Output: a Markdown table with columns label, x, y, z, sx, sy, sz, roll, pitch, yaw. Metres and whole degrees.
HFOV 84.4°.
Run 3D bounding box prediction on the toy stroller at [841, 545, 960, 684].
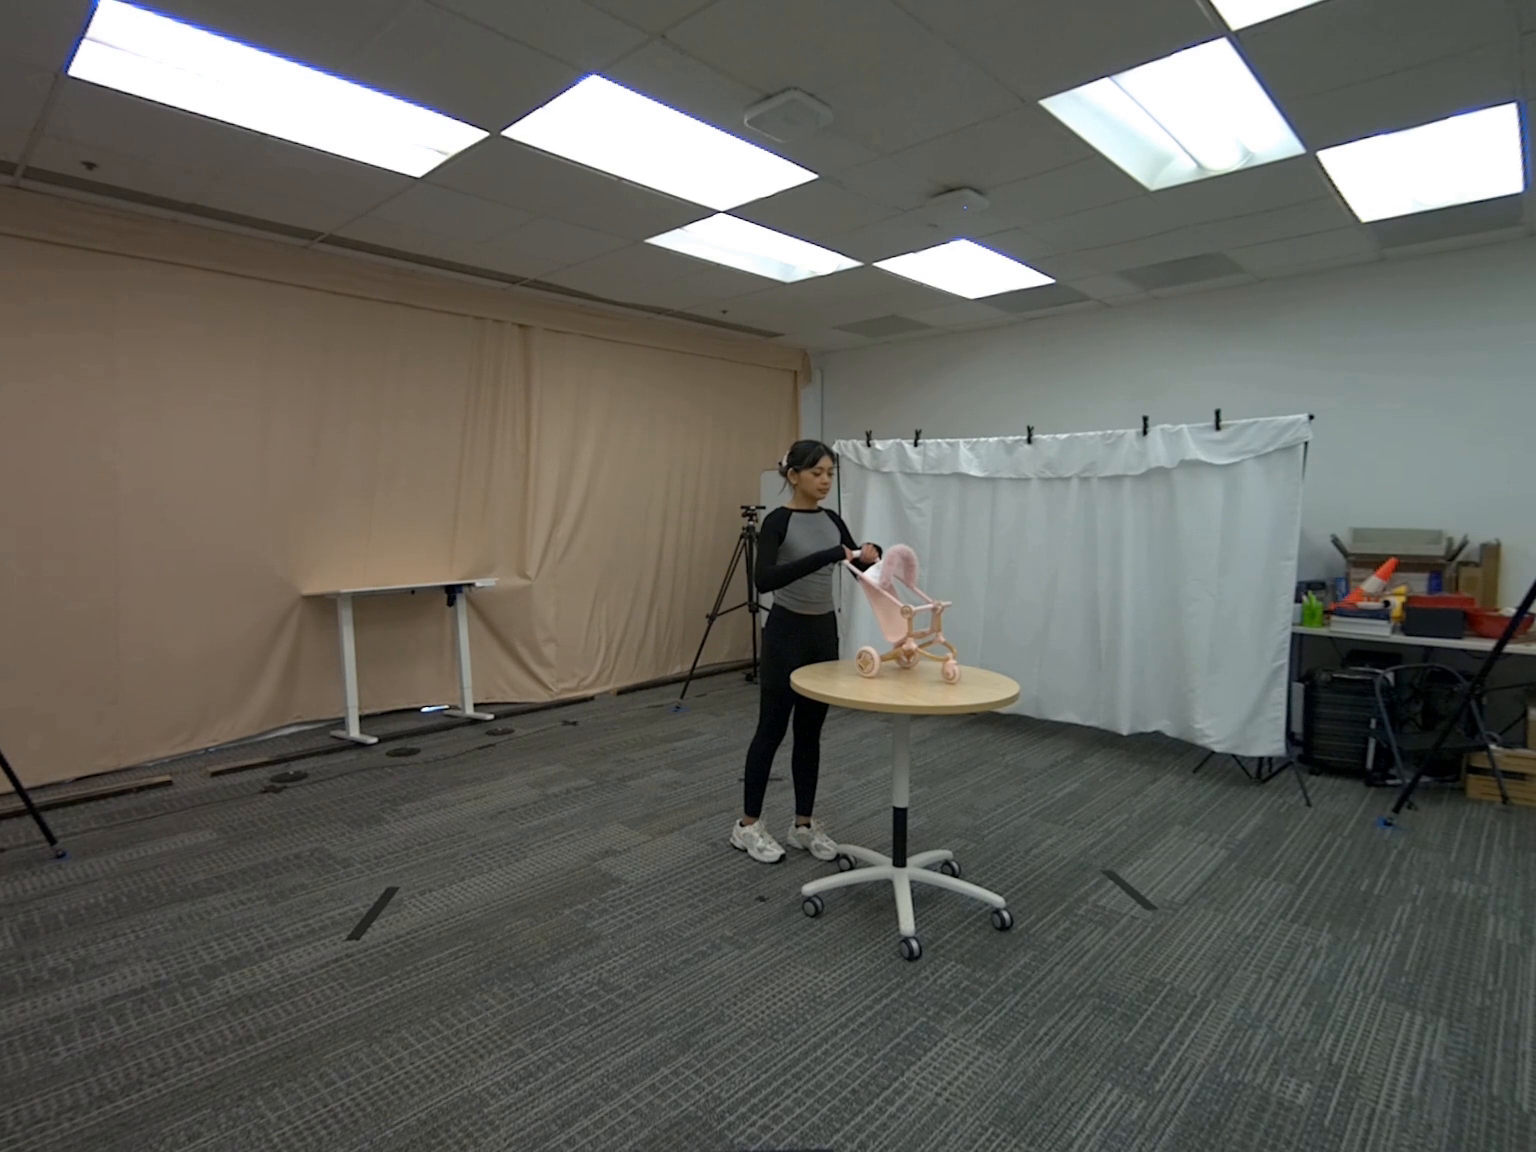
| label | x | y | z | sx | sy | sz | roll | pitch | yaw |
| --- | --- | --- | --- | --- | --- | --- | --- | --- | --- |
| toy stroller | 0.482 | 0.129 | 2.953 | 0.273 | 0.538 | 0.349 | -4 | -10 | -42 |
